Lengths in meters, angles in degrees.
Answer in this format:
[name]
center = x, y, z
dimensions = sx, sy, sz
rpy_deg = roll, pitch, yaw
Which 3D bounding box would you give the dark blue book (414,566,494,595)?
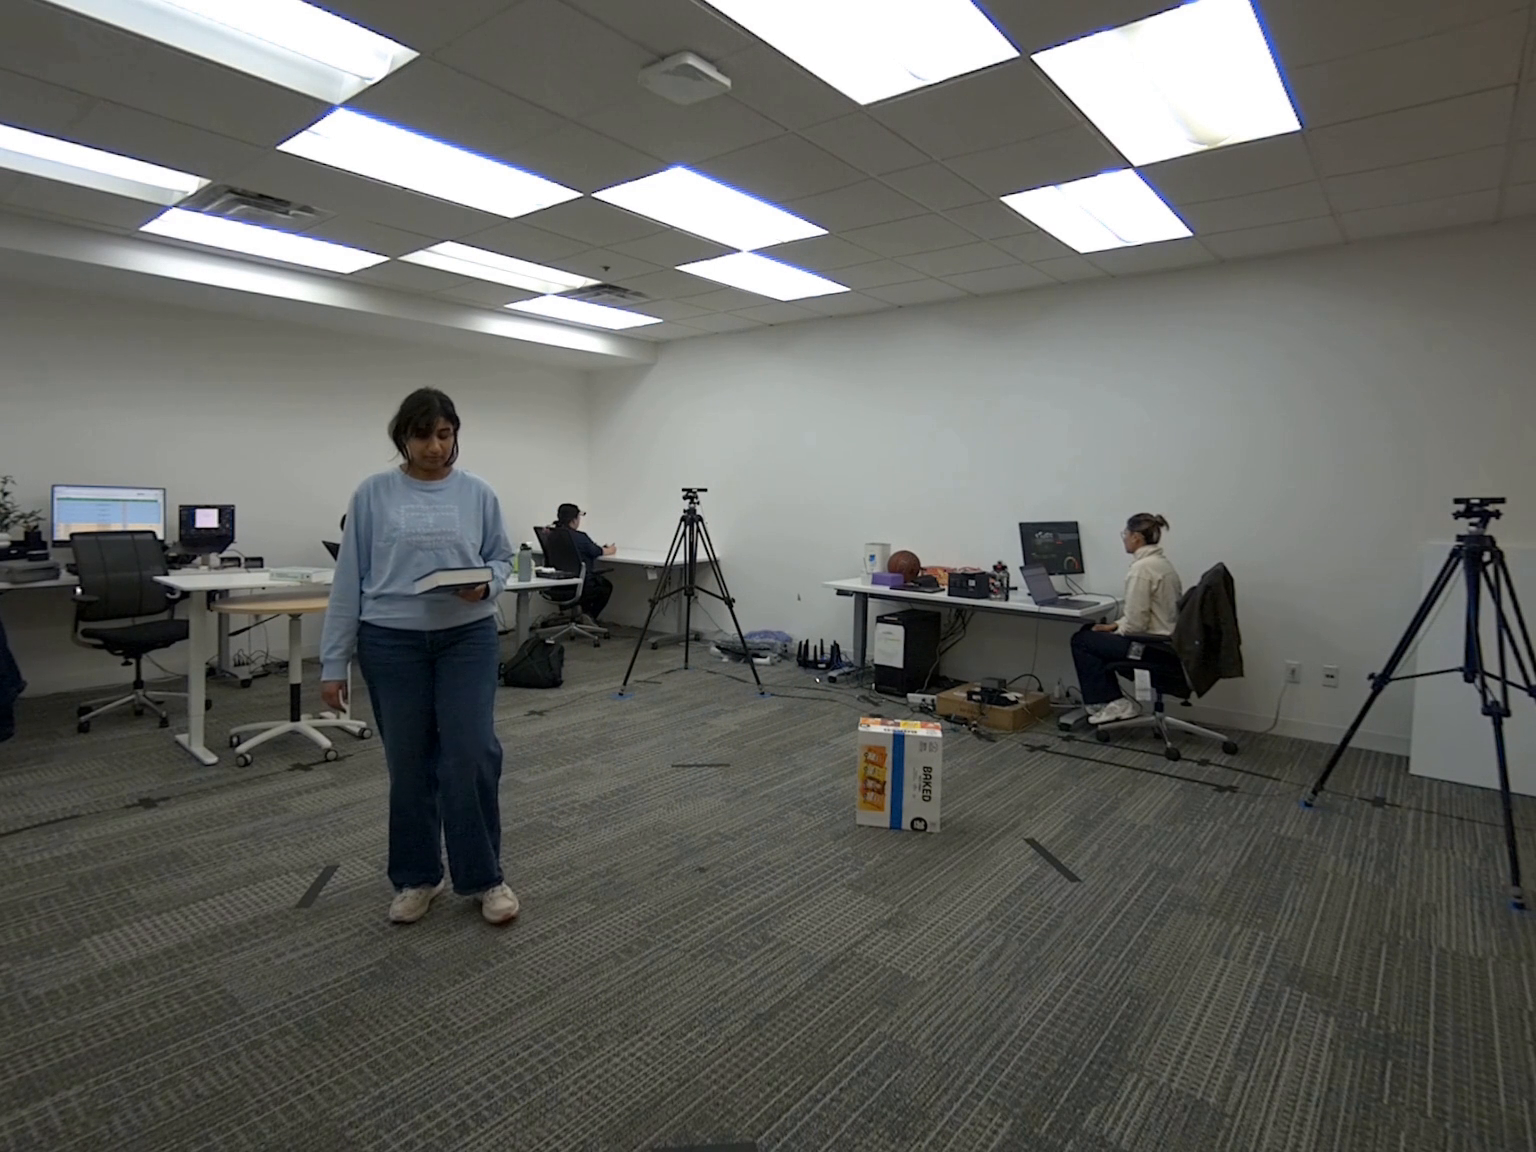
[dark blue book]
center = -0.956, 0.012, 2.501
dimensions = 0.159, 0.045, 0.251
rpy_deg = -4, -5, -37
